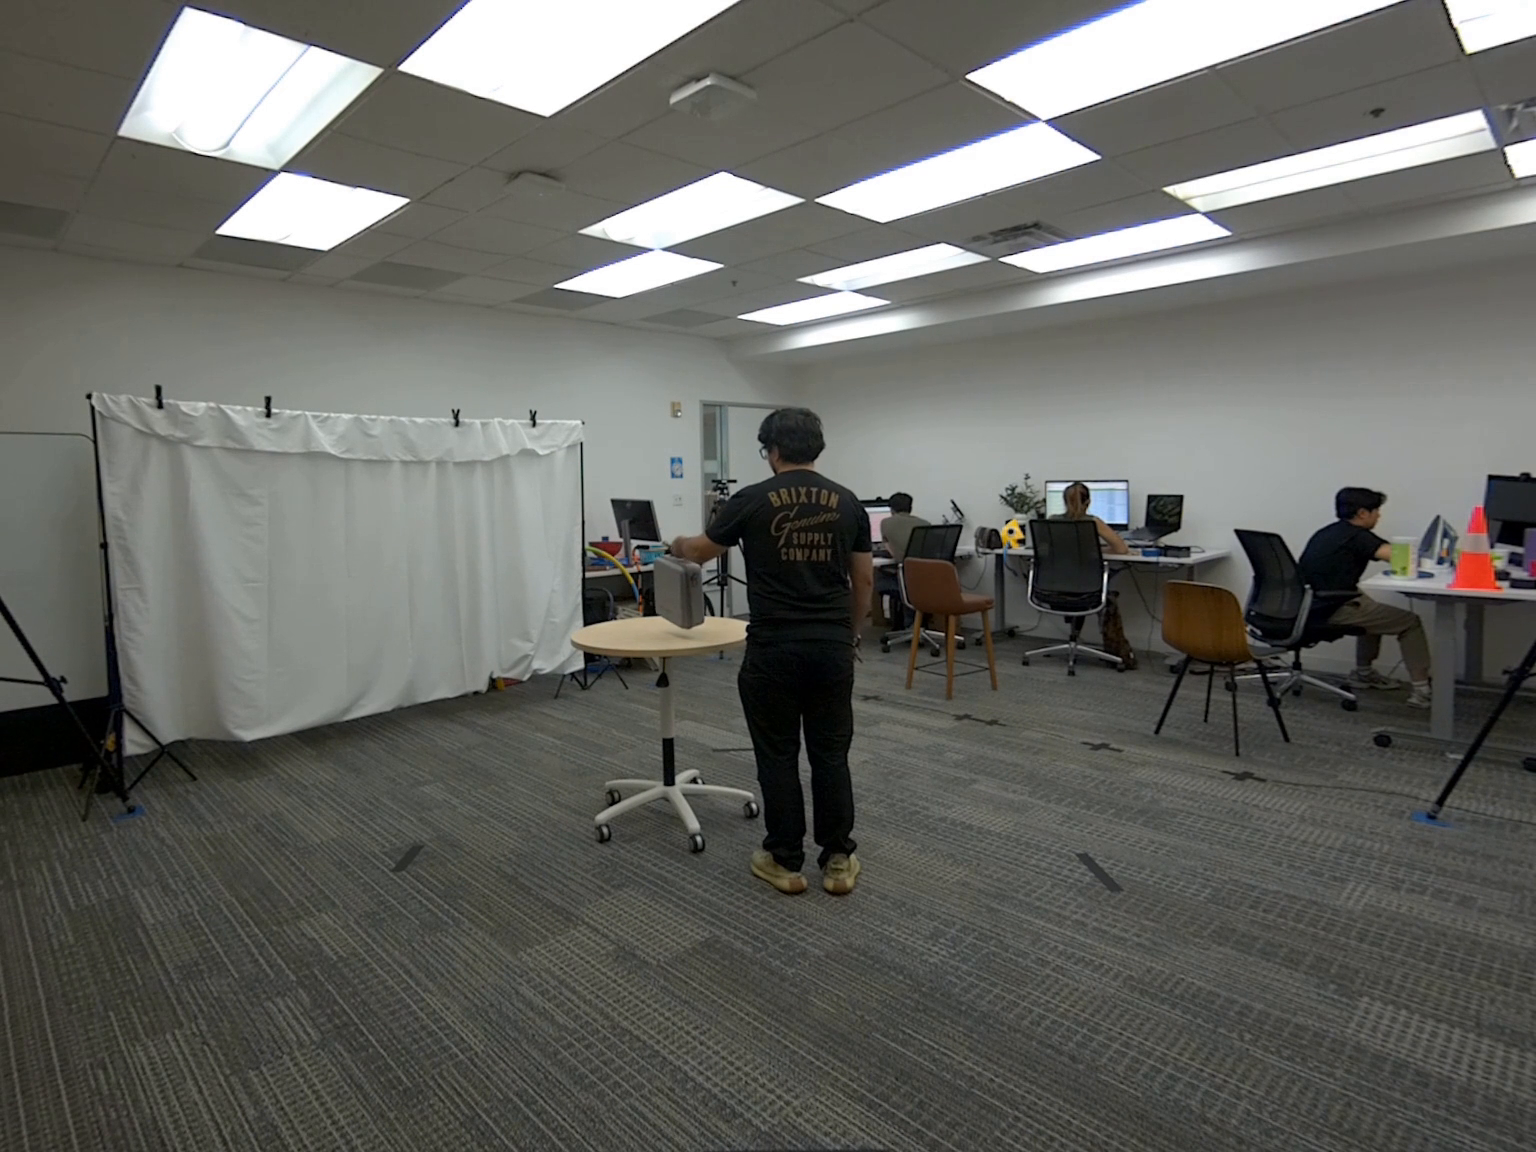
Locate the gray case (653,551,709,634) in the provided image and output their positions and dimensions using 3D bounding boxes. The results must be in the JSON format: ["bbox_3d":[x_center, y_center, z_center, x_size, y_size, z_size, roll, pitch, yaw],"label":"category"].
[{"bbox_3d":[-0.348,0.055,3.379,0.102,0.257,0.265,-9,15,-29],"label":"gray case"}]
